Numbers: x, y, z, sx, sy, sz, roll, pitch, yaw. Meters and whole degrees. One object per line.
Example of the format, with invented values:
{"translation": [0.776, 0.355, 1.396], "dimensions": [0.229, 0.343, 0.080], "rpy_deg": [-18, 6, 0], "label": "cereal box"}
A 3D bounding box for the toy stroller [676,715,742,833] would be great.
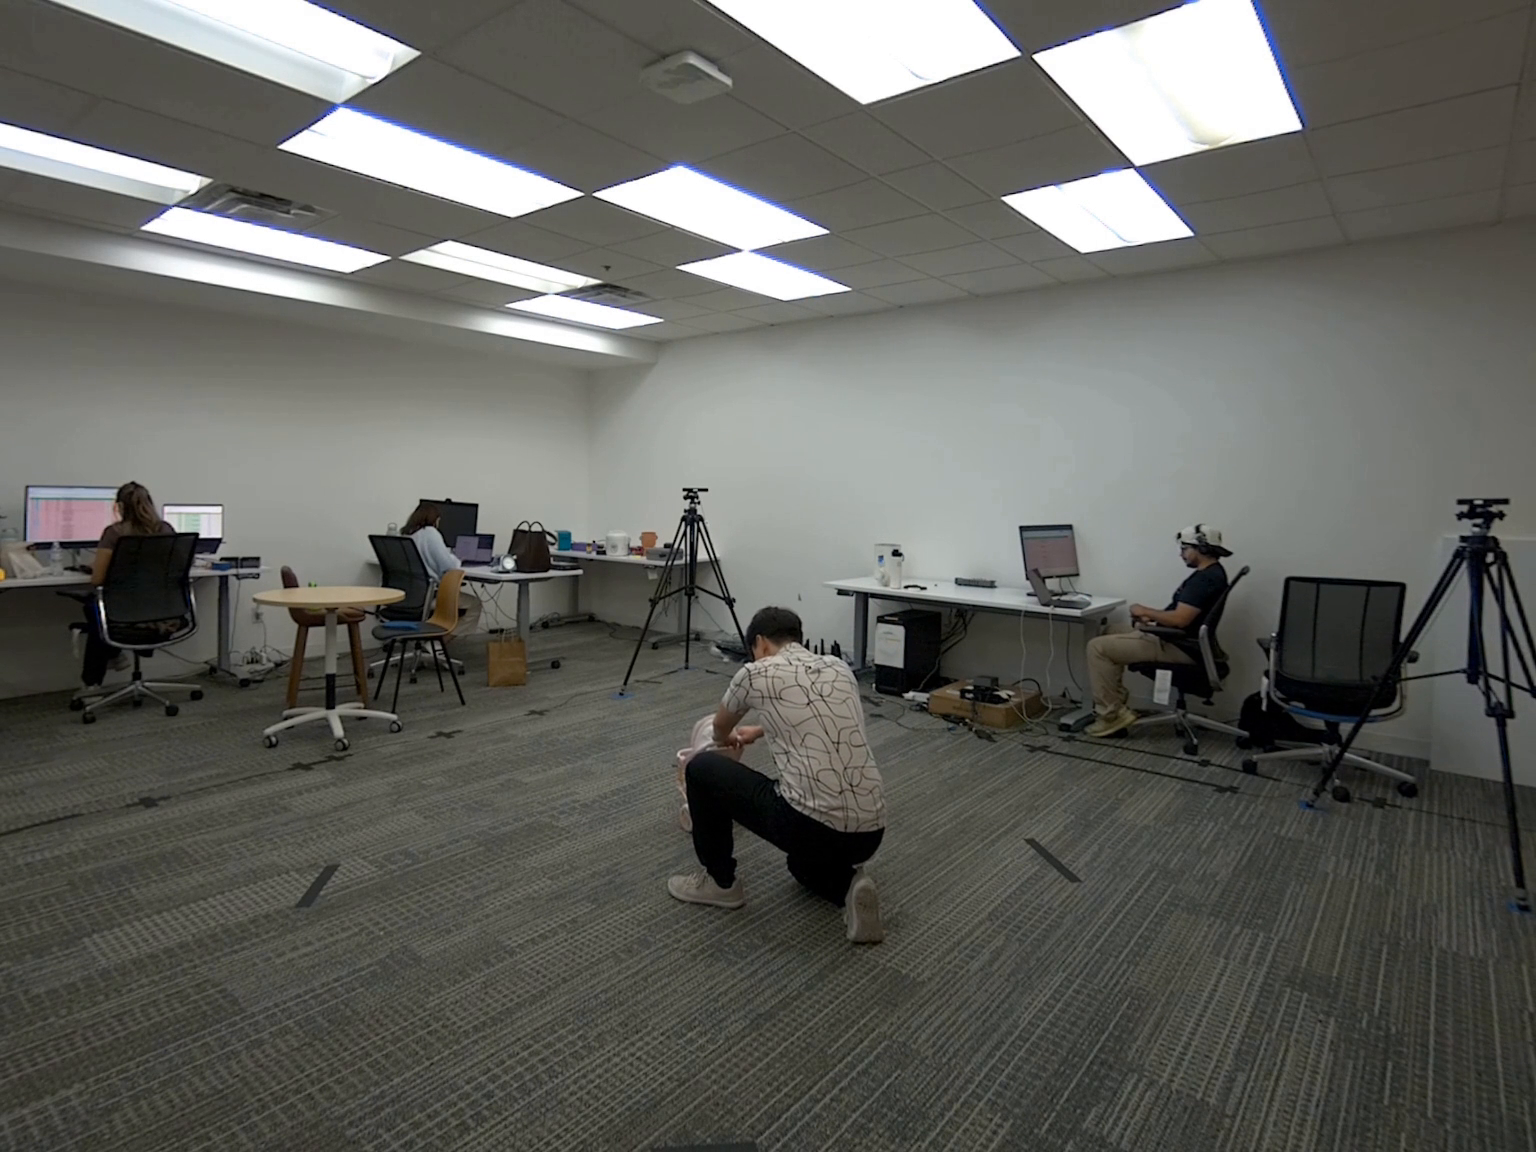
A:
{"translation": [-0.247, 0.797, 3.550], "dimensions": [0.274, 0.527, 0.355], "rpy_deg": [0, 21, -26], "label": "toy stroller"}
